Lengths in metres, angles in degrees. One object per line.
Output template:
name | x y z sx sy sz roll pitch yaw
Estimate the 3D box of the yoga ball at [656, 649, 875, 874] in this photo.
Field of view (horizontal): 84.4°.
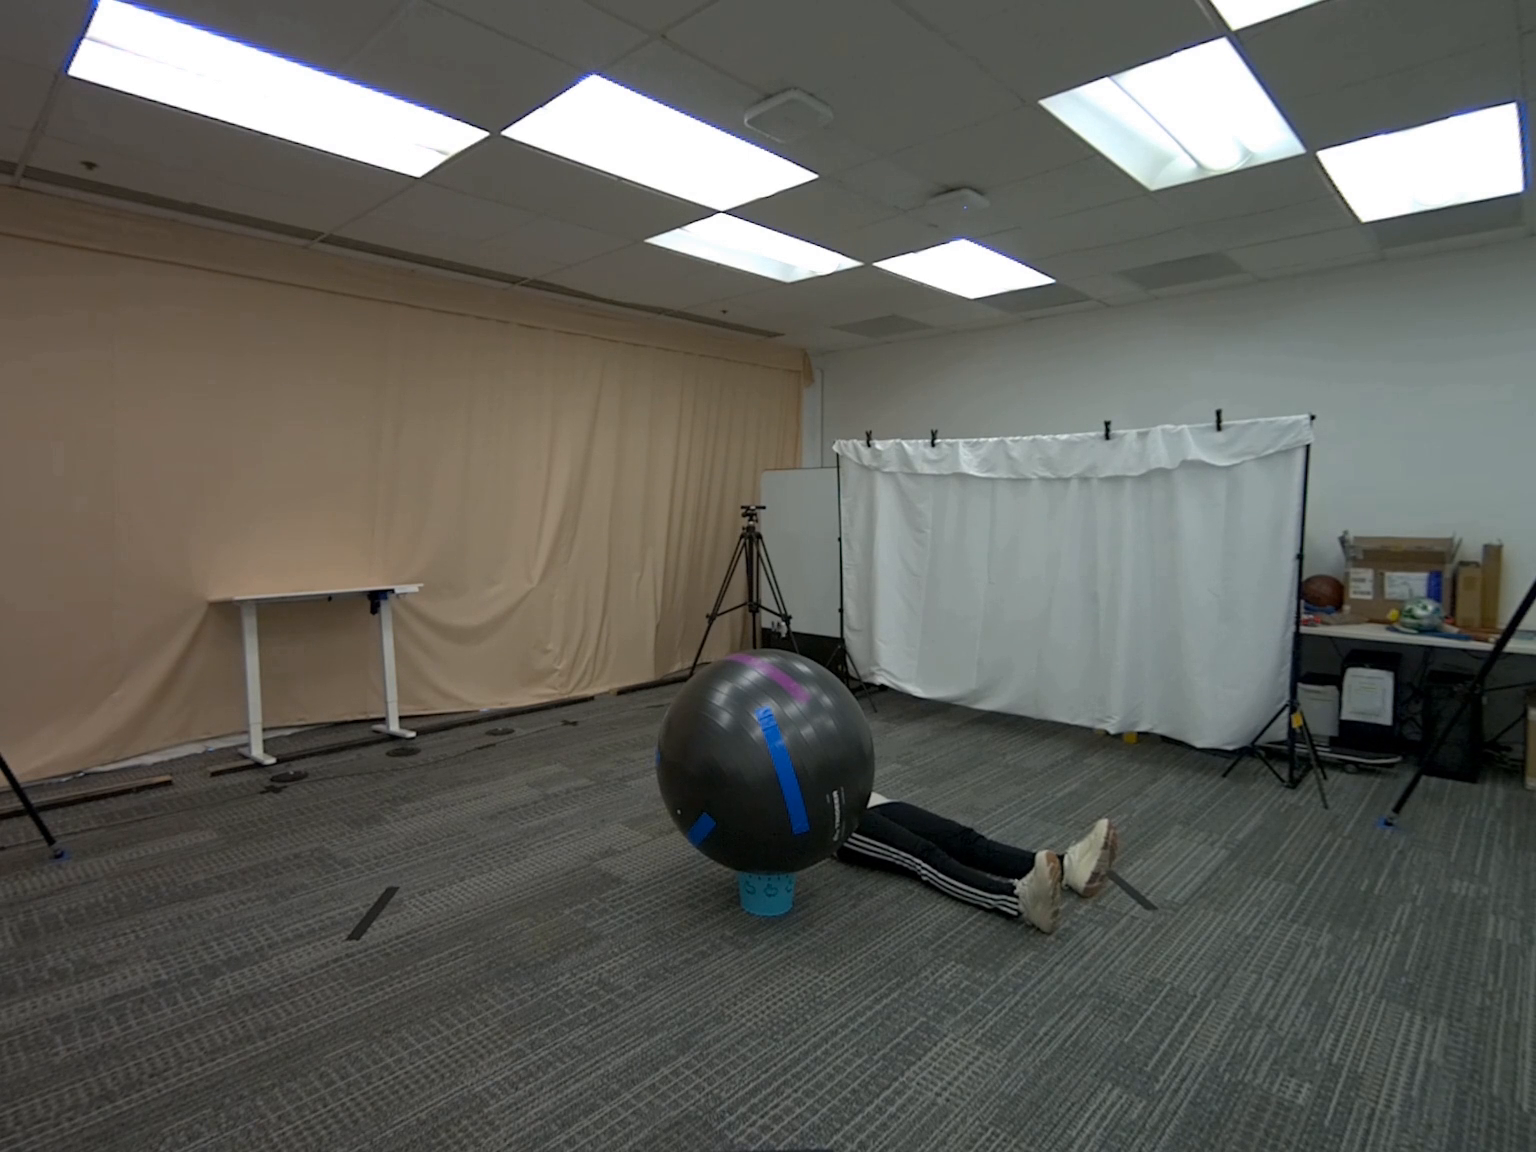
yoga ball | -0.005 0.636 2.931 0.757 0.756 0.760 0 4 -2
